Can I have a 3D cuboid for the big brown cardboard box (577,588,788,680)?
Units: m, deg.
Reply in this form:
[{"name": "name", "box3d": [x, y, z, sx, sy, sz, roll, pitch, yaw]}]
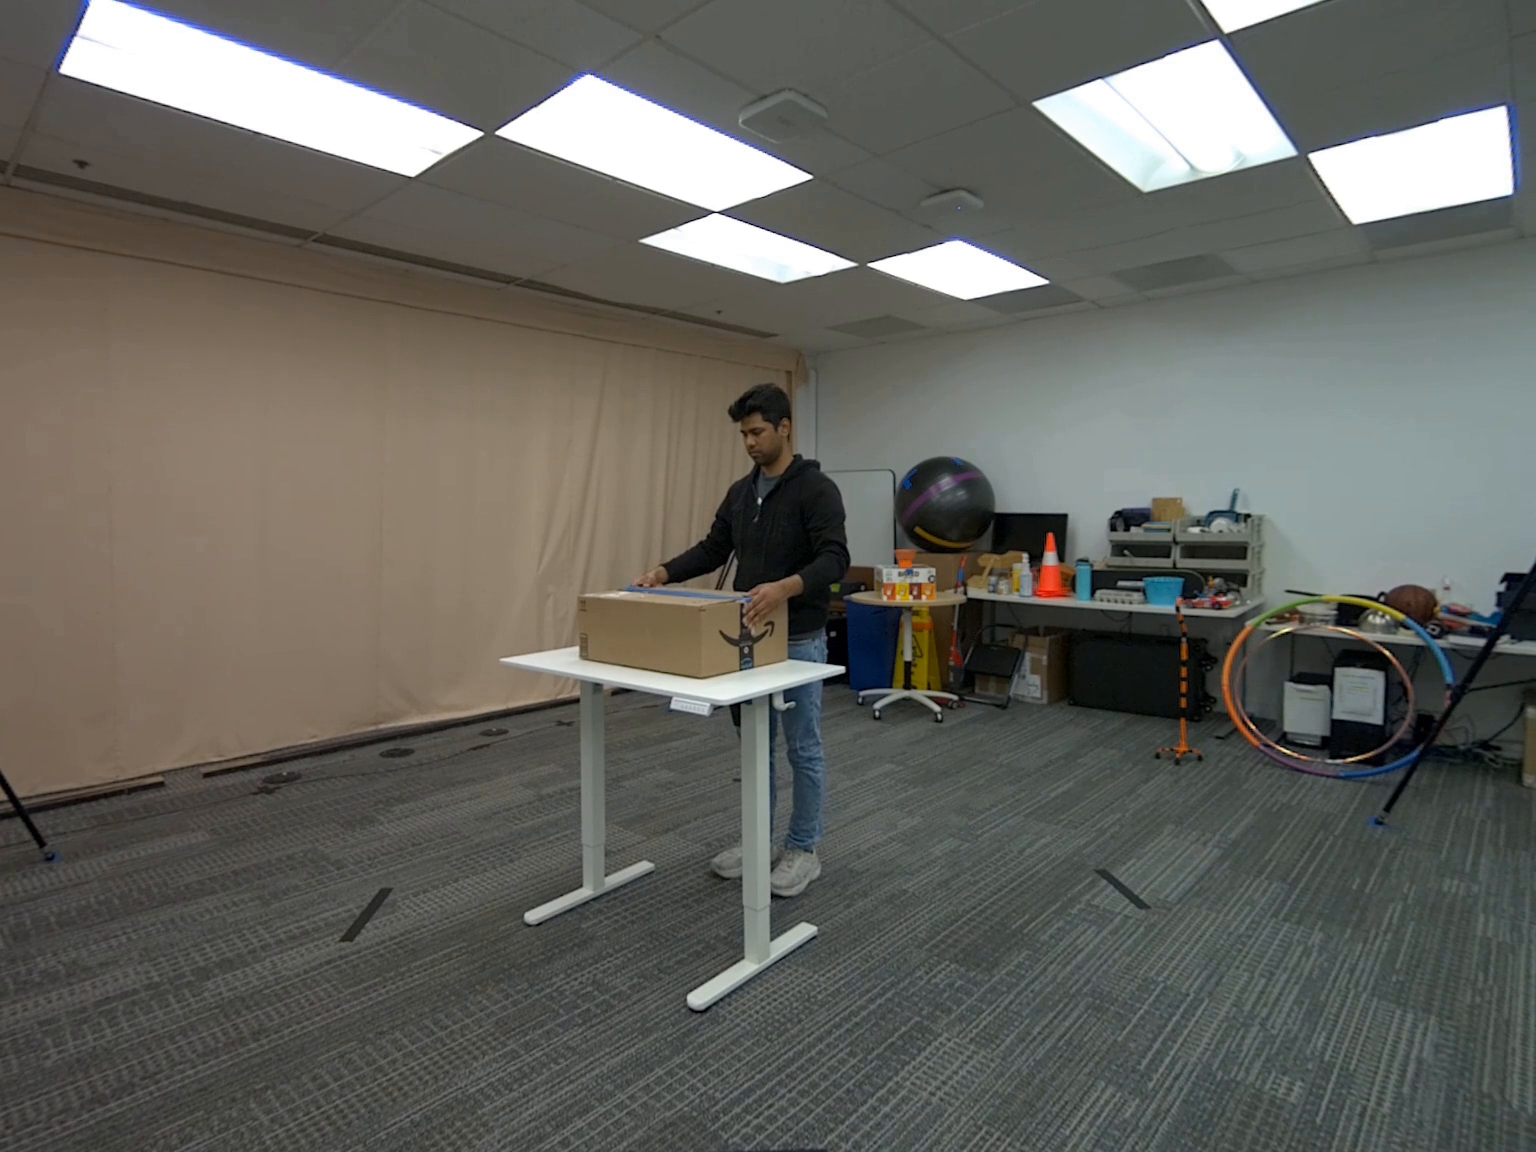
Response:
[{"name": "big brown cardboard box", "box3d": [-0.289, 0.163, 2.802, 0.608, 0.232, 0.405, 4, 6, 40]}]
